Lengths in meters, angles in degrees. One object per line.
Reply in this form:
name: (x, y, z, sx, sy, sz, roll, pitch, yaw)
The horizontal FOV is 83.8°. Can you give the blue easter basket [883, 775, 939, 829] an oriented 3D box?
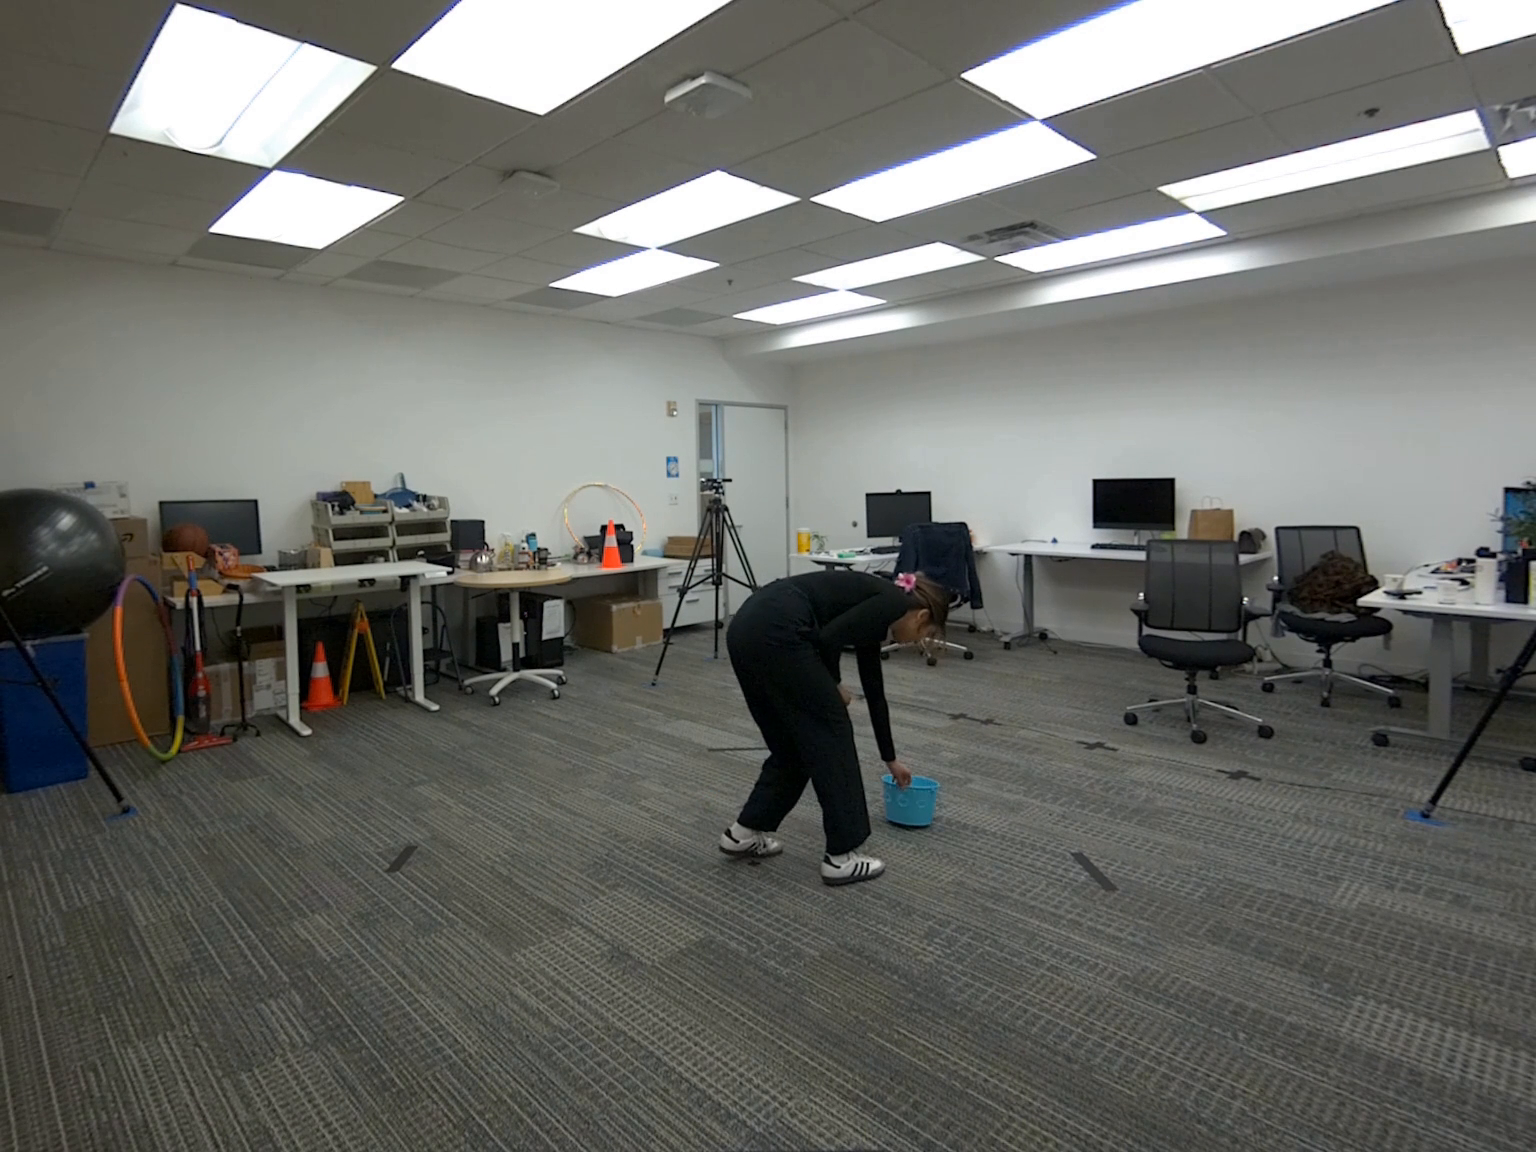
blue easter basket: (0.572, 0.907, 3.462, 0.243, 0.156, 0.243, 4, -2, -2)
